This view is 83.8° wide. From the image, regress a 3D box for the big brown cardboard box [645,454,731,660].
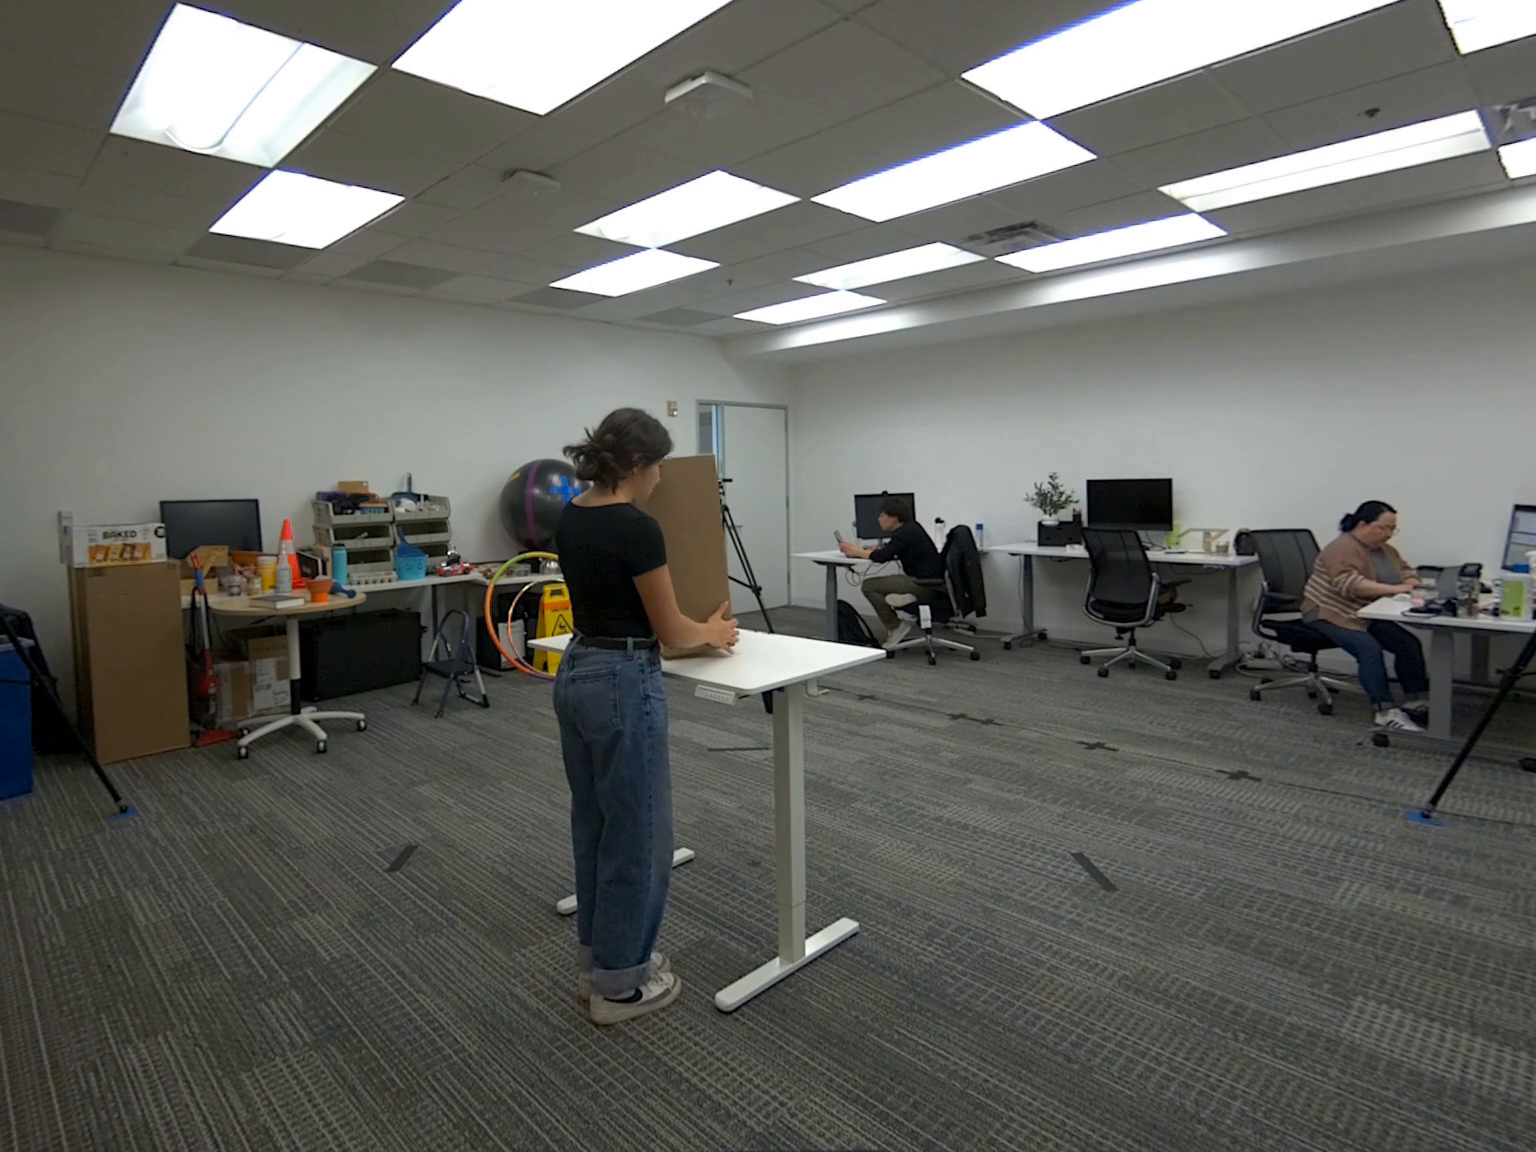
[{"bbox_3d":[-0.291,-0.078,2.650,0.230,0.587,0.425,-6,4,-17],"label":"big brown cardboard box"}]
